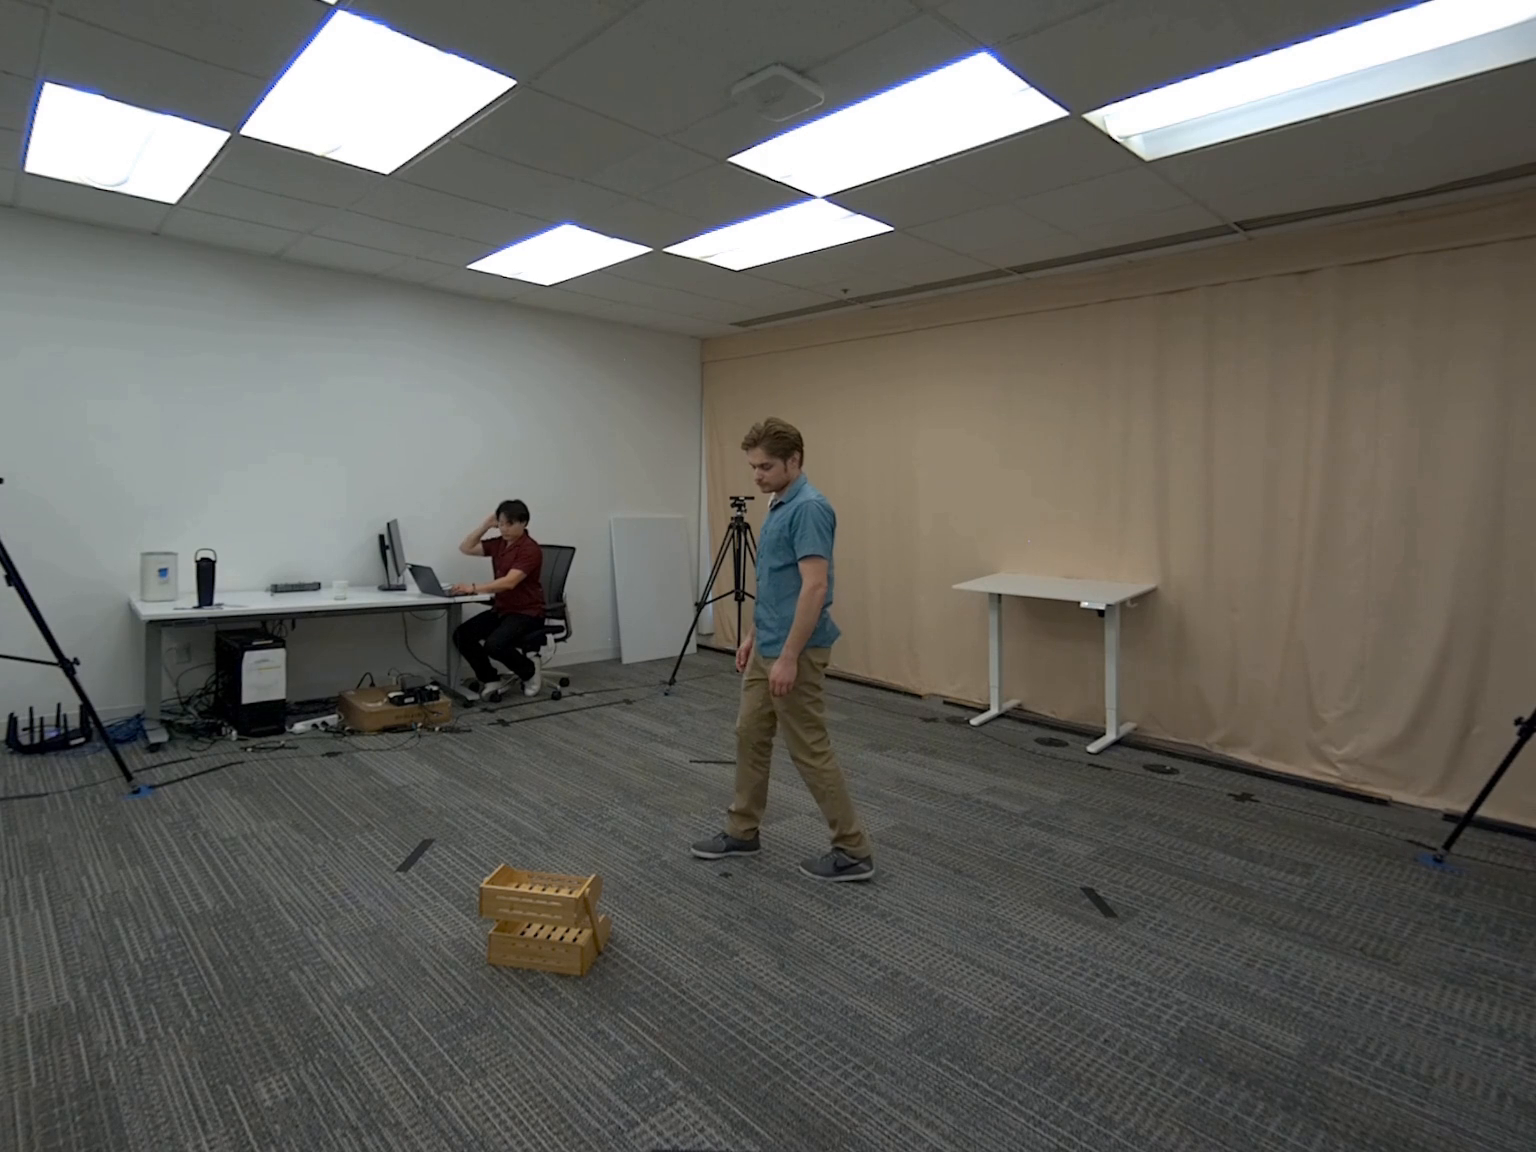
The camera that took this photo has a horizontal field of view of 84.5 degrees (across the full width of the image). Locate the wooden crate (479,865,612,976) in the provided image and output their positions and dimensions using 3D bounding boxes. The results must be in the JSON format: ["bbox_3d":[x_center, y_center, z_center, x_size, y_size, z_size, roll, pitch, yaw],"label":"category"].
[{"bbox_3d":[-0.672,1.009,2.549,0.327,0.272,0.300,2,5,9],"label":"wooden crate"}]
